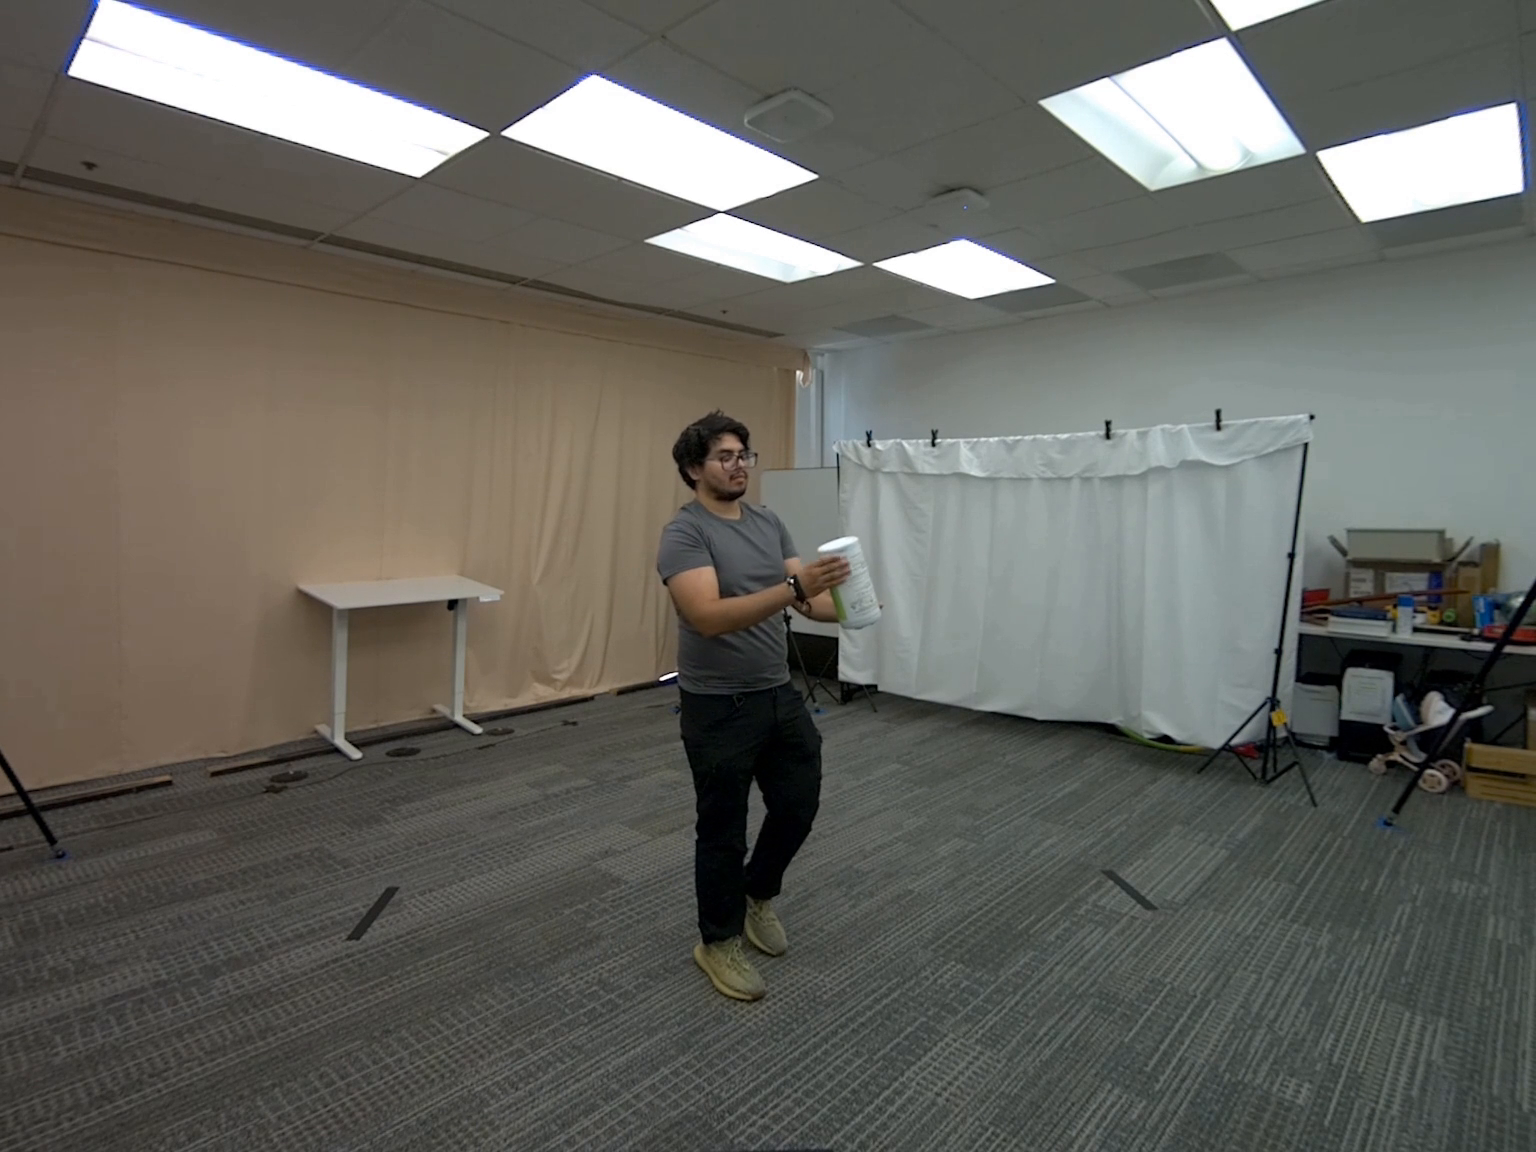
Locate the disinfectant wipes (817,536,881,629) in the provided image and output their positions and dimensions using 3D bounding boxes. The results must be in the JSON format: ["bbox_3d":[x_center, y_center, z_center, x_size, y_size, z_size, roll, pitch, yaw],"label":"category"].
[{"bbox_3d":[0.215,0.013,2.128,0.118,0.216,0.118,-15,7,0],"label":"disinfectant wipes"}]
